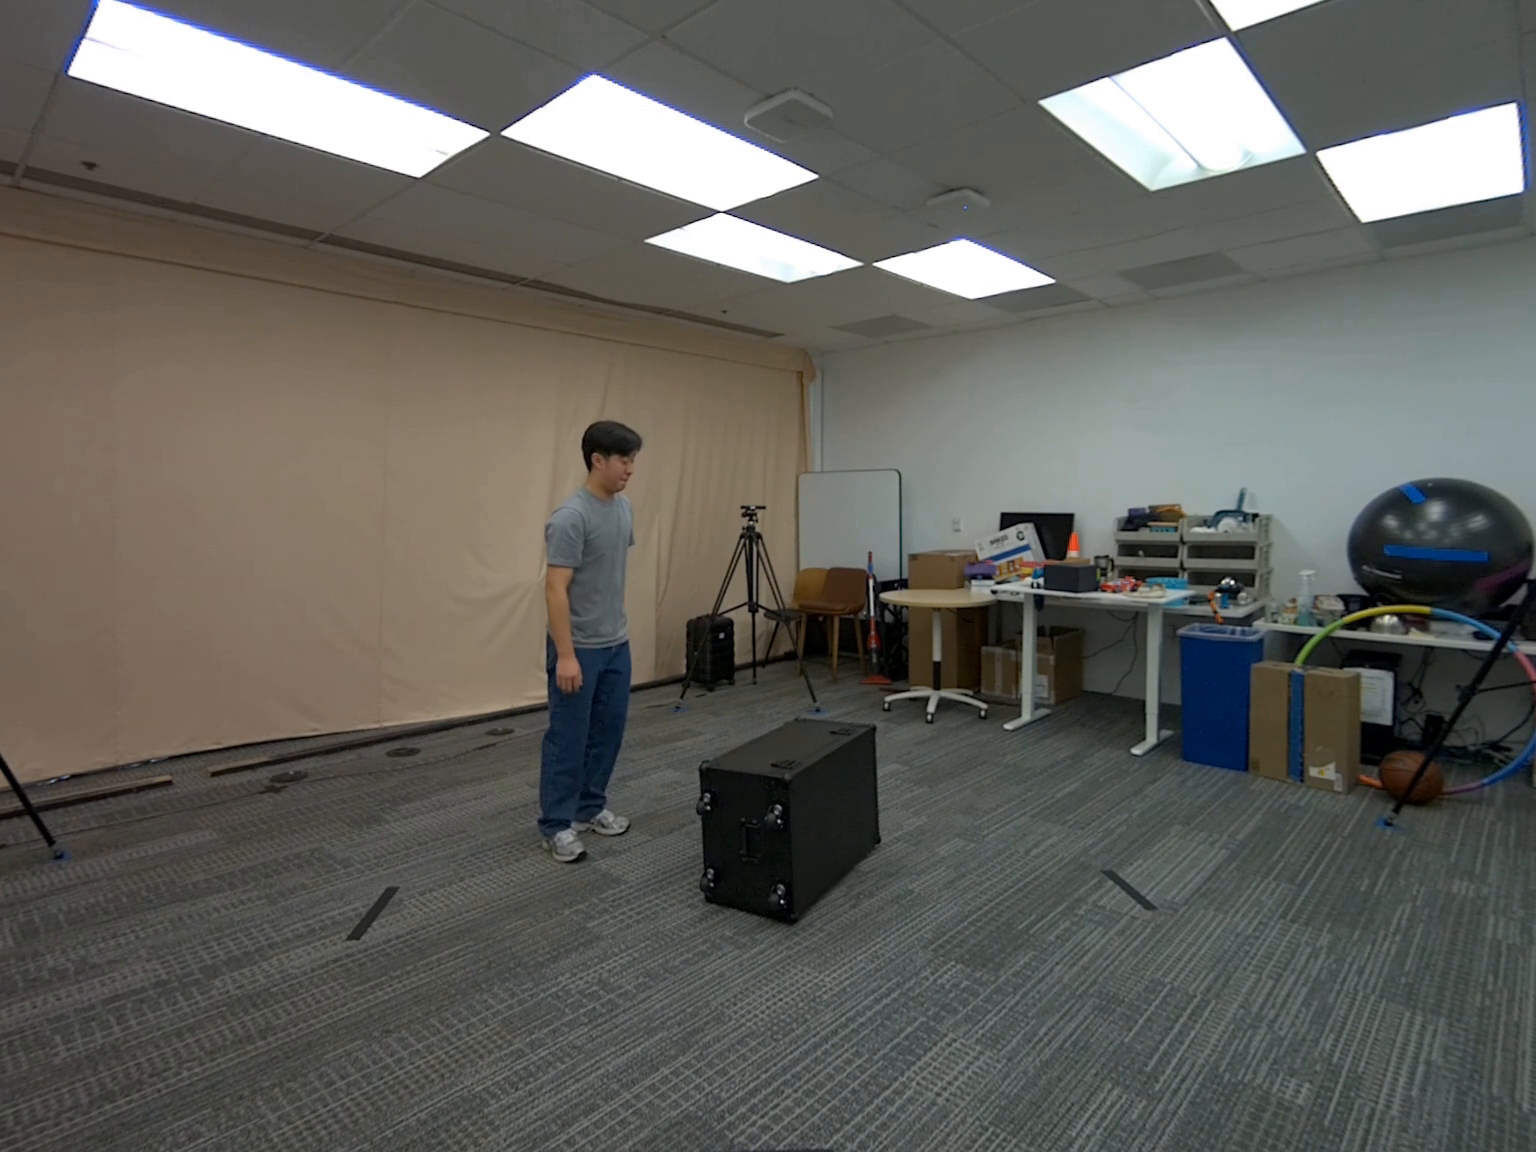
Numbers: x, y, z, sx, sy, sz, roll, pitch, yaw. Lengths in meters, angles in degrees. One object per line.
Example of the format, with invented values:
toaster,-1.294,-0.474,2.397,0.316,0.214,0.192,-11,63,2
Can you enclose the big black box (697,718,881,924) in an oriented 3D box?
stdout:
big black box,0.085,0.870,3.166,0.407,0.520,0.839,-1,3,29
